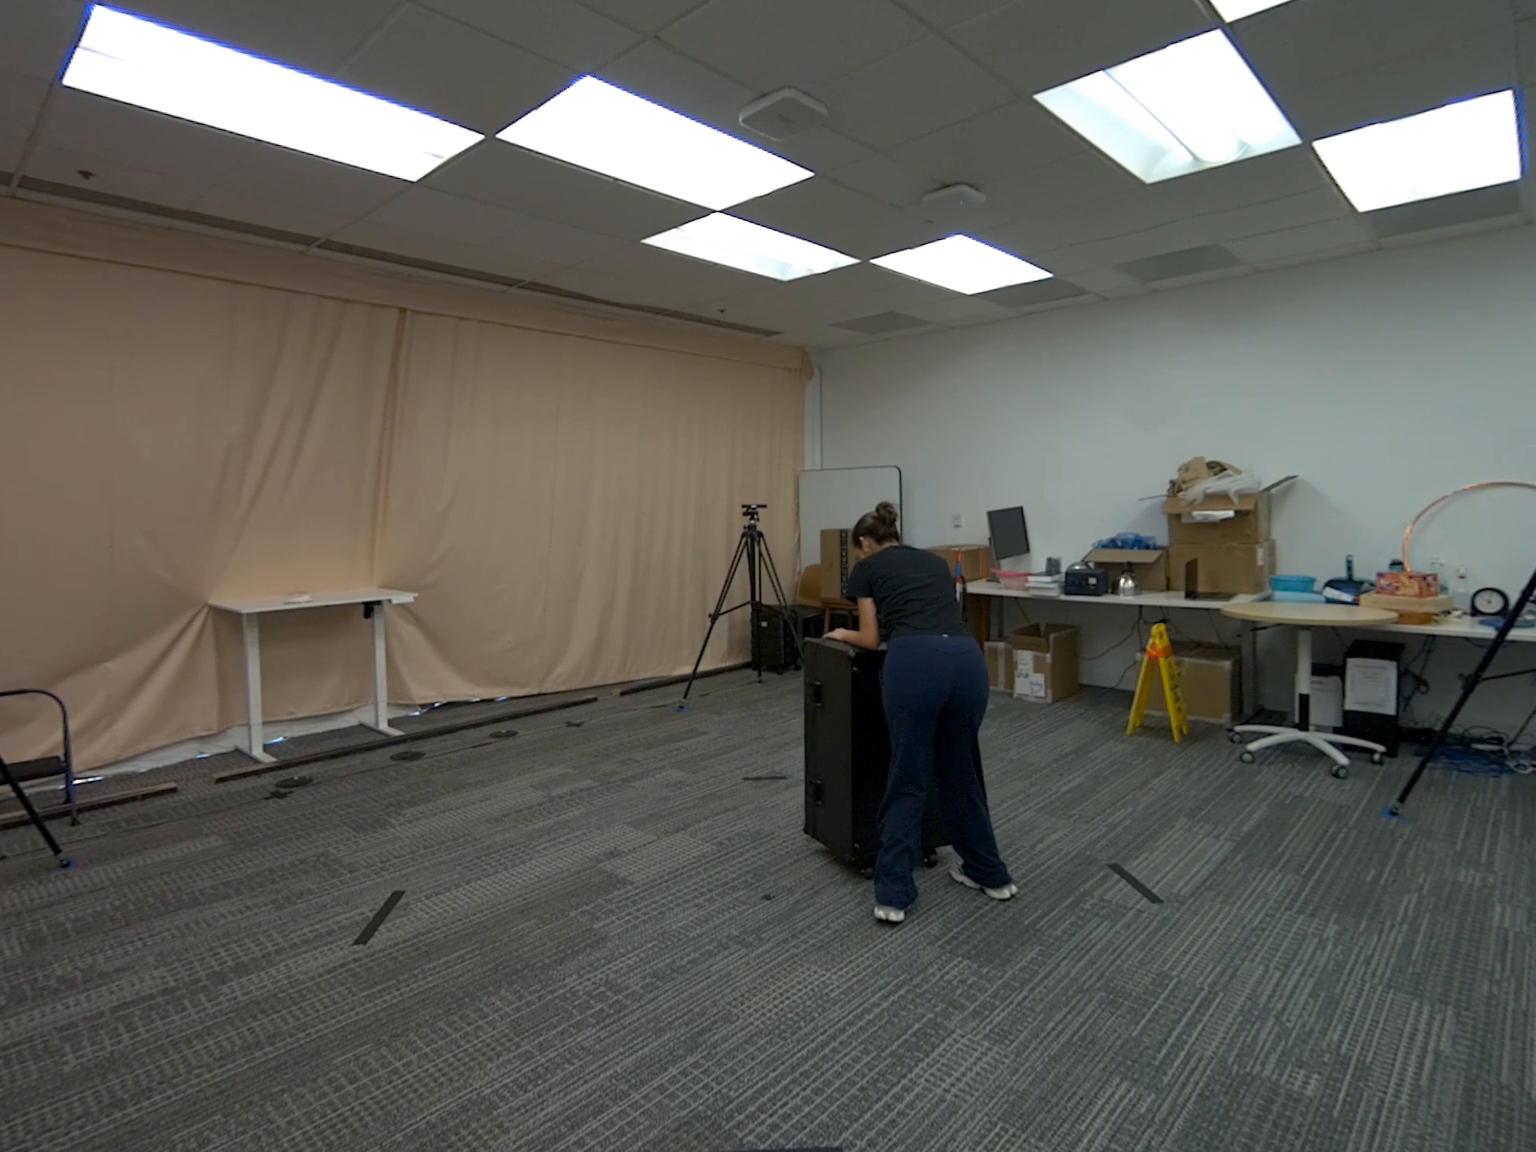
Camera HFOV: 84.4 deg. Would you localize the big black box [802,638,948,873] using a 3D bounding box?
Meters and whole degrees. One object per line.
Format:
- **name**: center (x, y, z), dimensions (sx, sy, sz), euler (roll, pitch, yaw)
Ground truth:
- **big black box**: center (0.452, 0.617, 3.293), dimensions (0.509, 0.860, 0.406), euler (-2, 3, -26)
